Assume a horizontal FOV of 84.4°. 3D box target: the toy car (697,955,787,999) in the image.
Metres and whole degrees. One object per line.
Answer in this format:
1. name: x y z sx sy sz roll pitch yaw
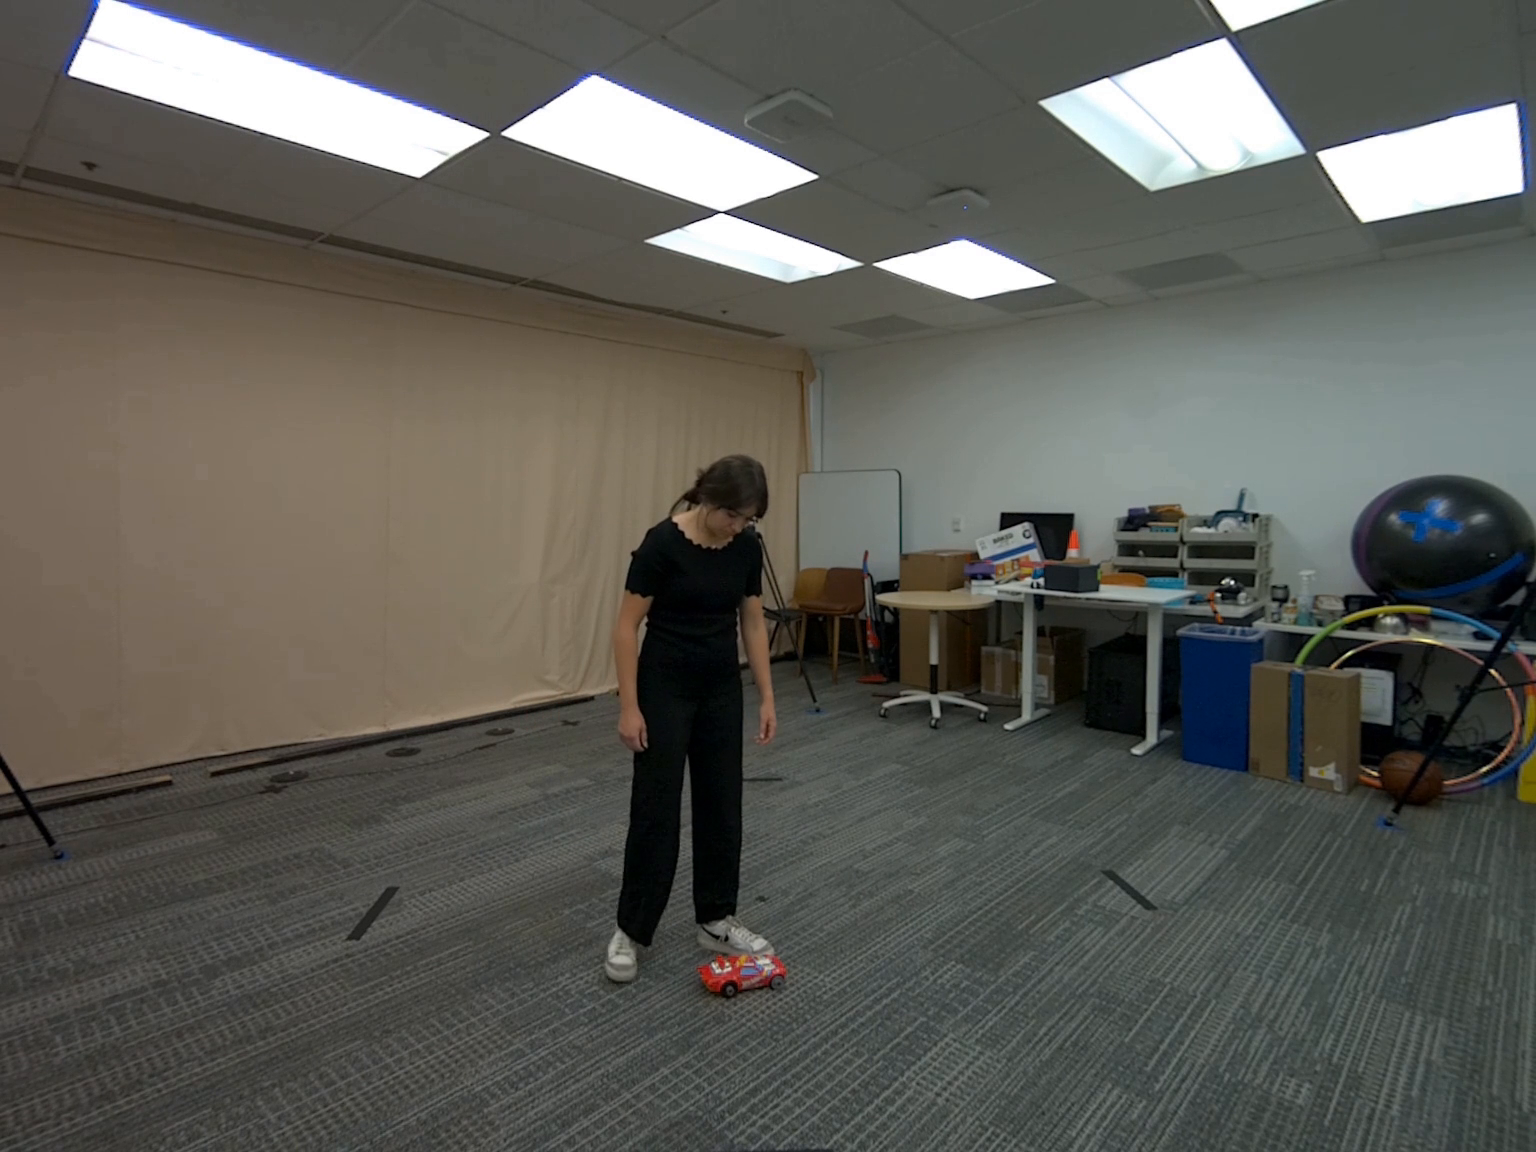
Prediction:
1. toy car: -0.080 1.158 2.439 0.250 0.083 0.133 10 0 -16
